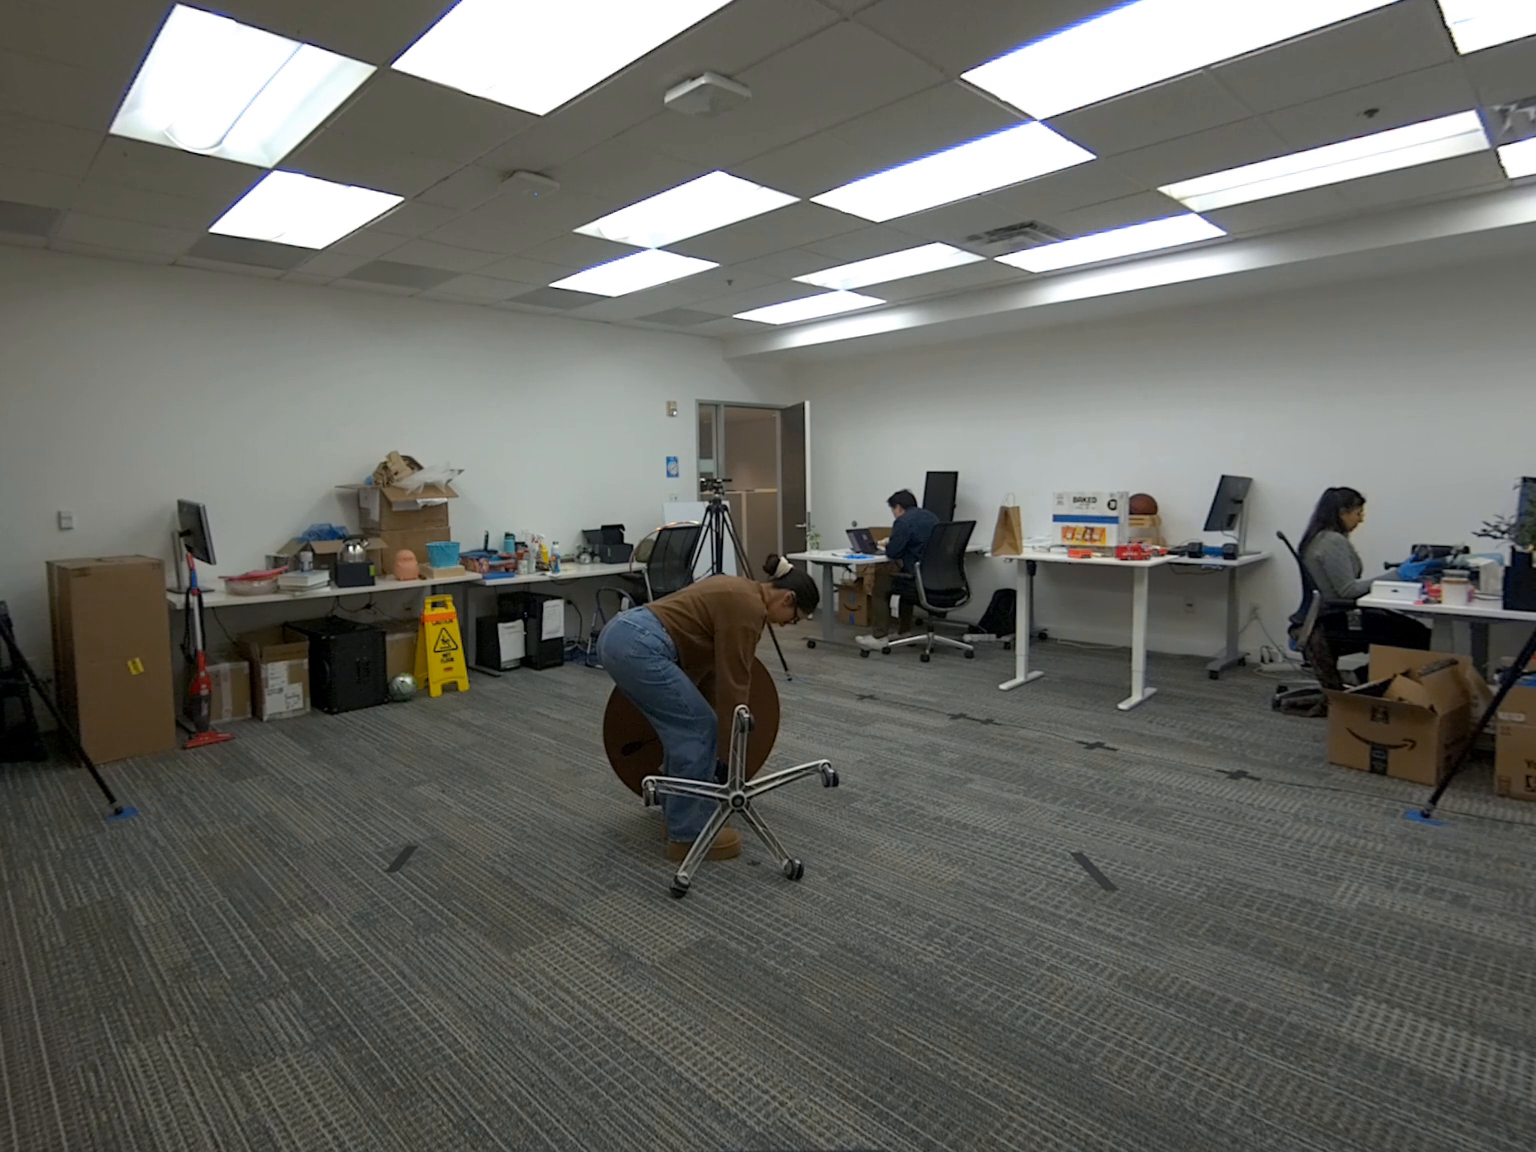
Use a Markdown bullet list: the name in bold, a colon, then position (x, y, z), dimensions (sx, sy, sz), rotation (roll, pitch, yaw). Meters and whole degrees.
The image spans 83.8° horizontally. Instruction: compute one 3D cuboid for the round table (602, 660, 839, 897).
- **round table**: position (-0.200, 0.710, 3.227), dimensions (0.753, 0.756, 0.813), rotation (-2, 12, -16)
